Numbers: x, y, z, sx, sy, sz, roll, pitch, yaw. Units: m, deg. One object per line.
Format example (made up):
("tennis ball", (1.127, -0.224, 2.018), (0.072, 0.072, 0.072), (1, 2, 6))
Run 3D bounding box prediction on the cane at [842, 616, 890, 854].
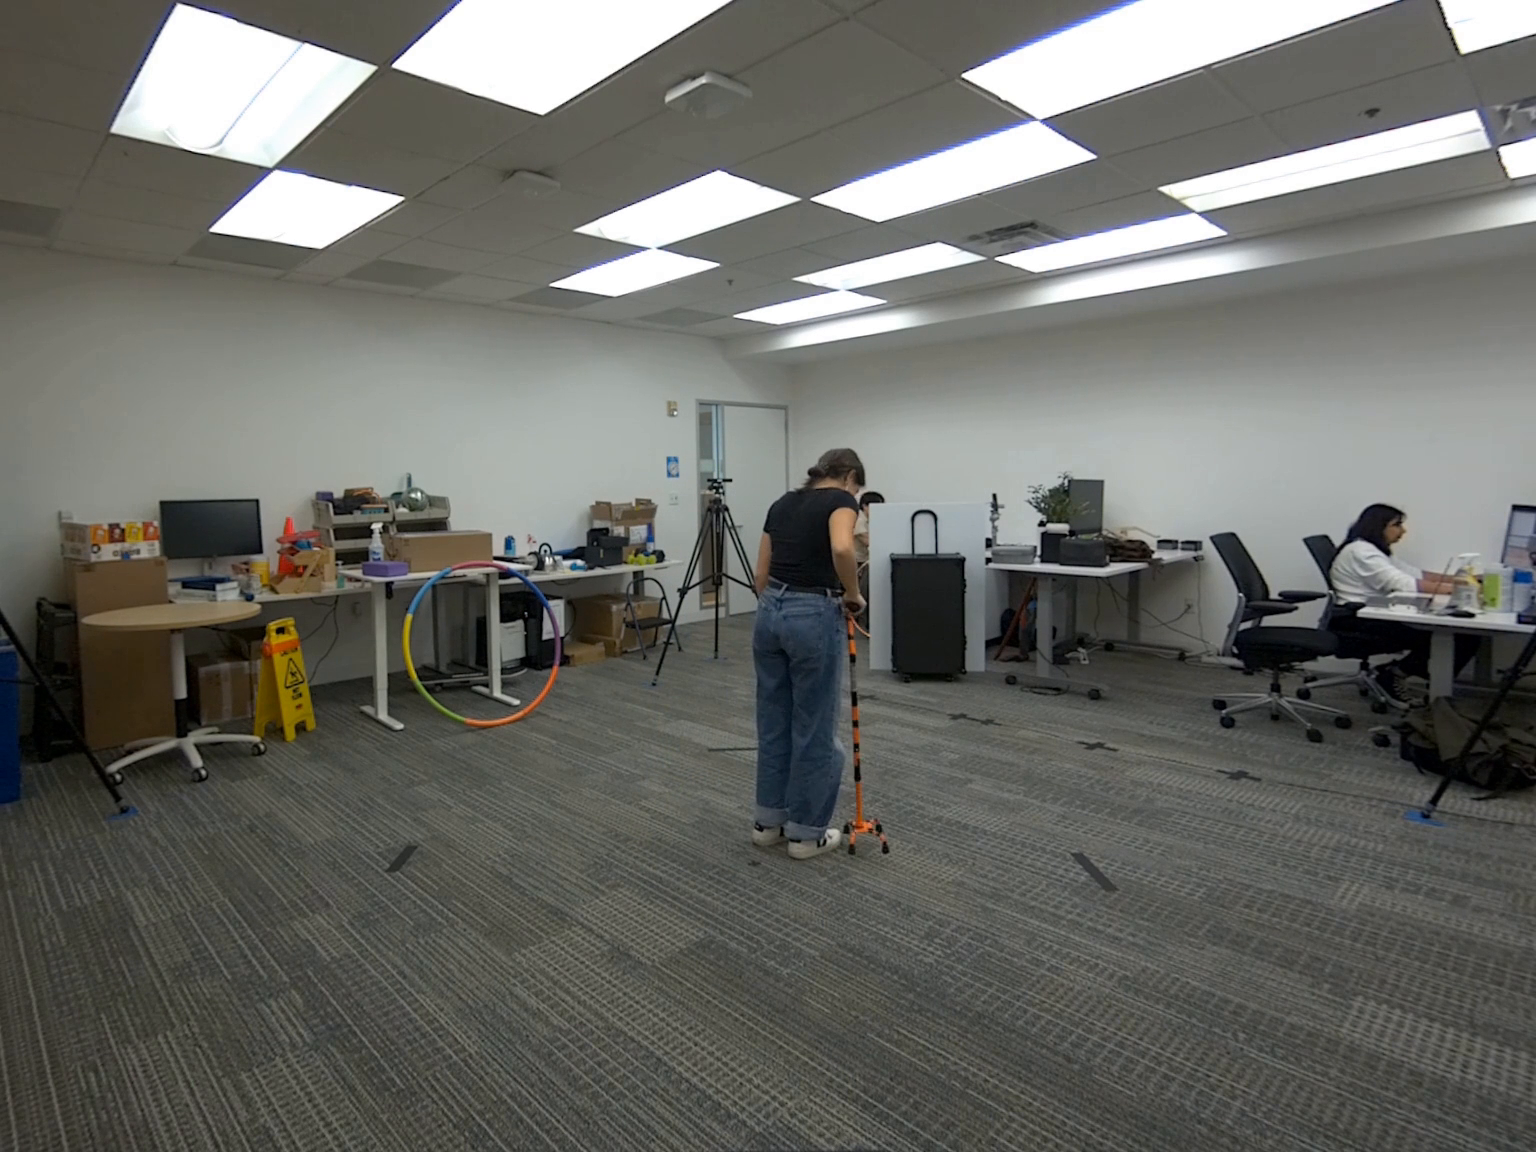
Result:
("cane", (0.338, 0.536, 3.137), (0.152, 0.904, 0.206), (-2, 4, 5))
